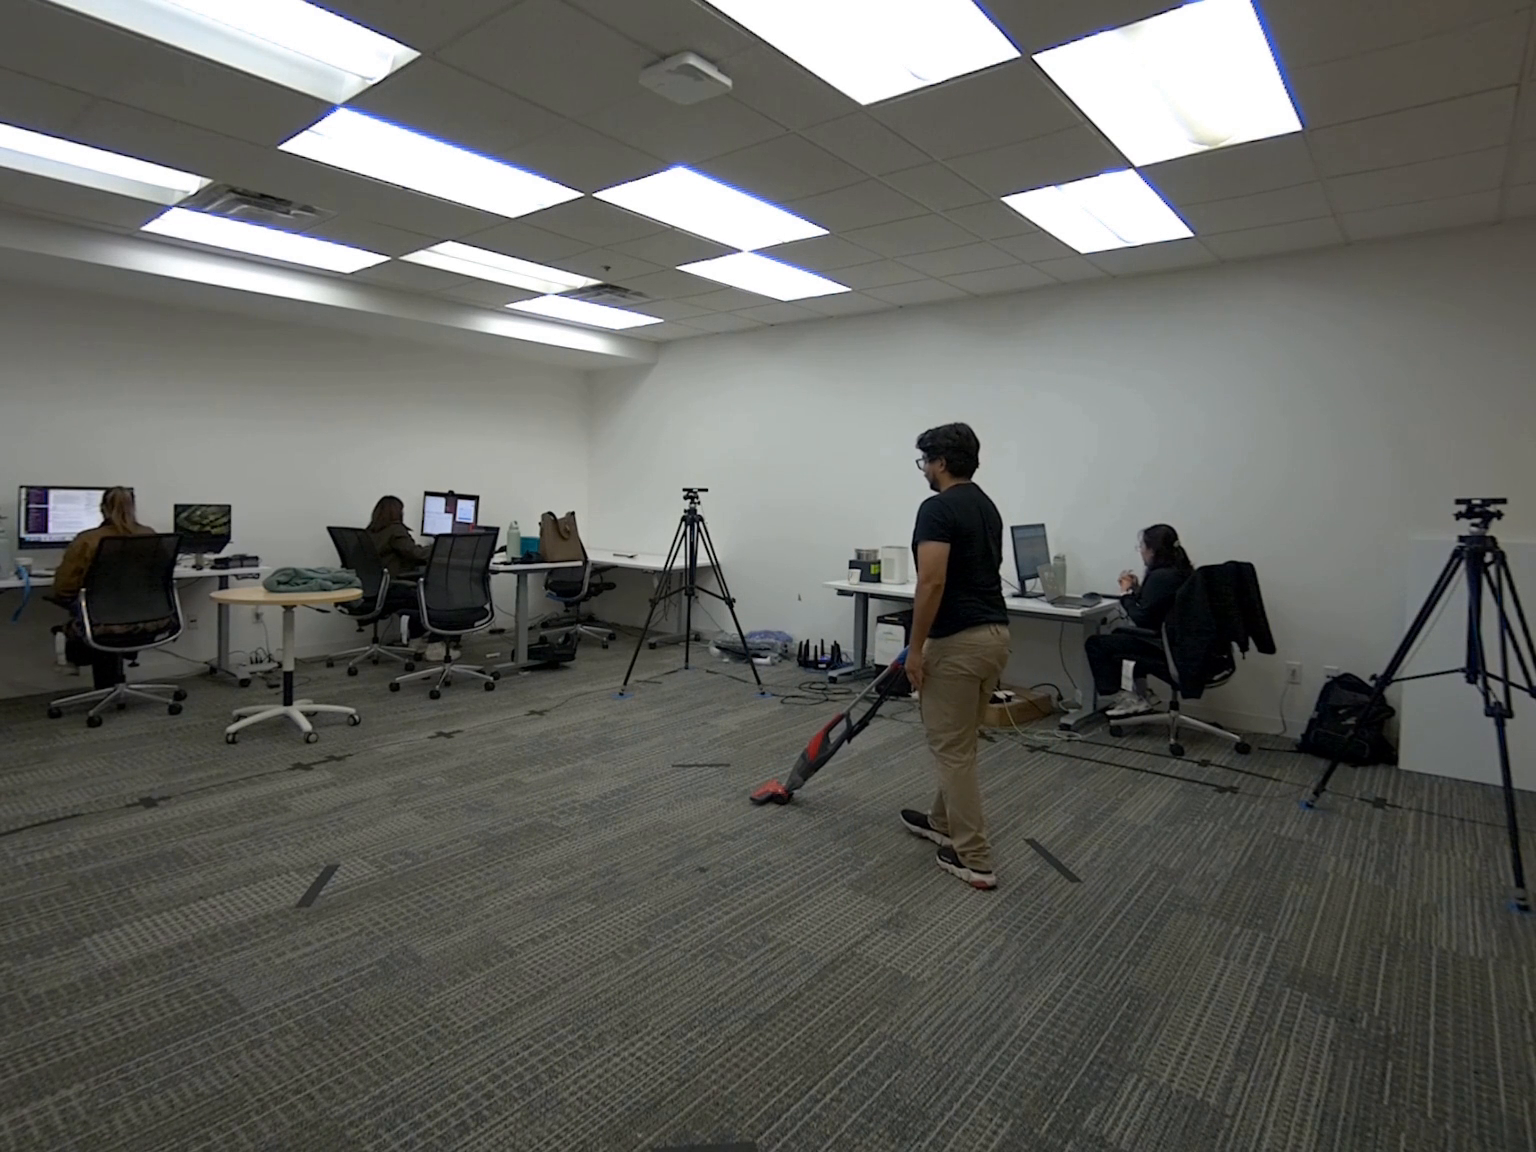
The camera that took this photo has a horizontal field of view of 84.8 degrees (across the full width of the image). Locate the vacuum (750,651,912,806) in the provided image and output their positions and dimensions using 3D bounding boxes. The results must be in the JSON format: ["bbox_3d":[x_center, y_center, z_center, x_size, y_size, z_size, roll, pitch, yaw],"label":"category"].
[{"bbox_3d":[0.344,0.623,3.677,0.147,1.049,0.247,47,20,14],"label":"vacuum"}]
